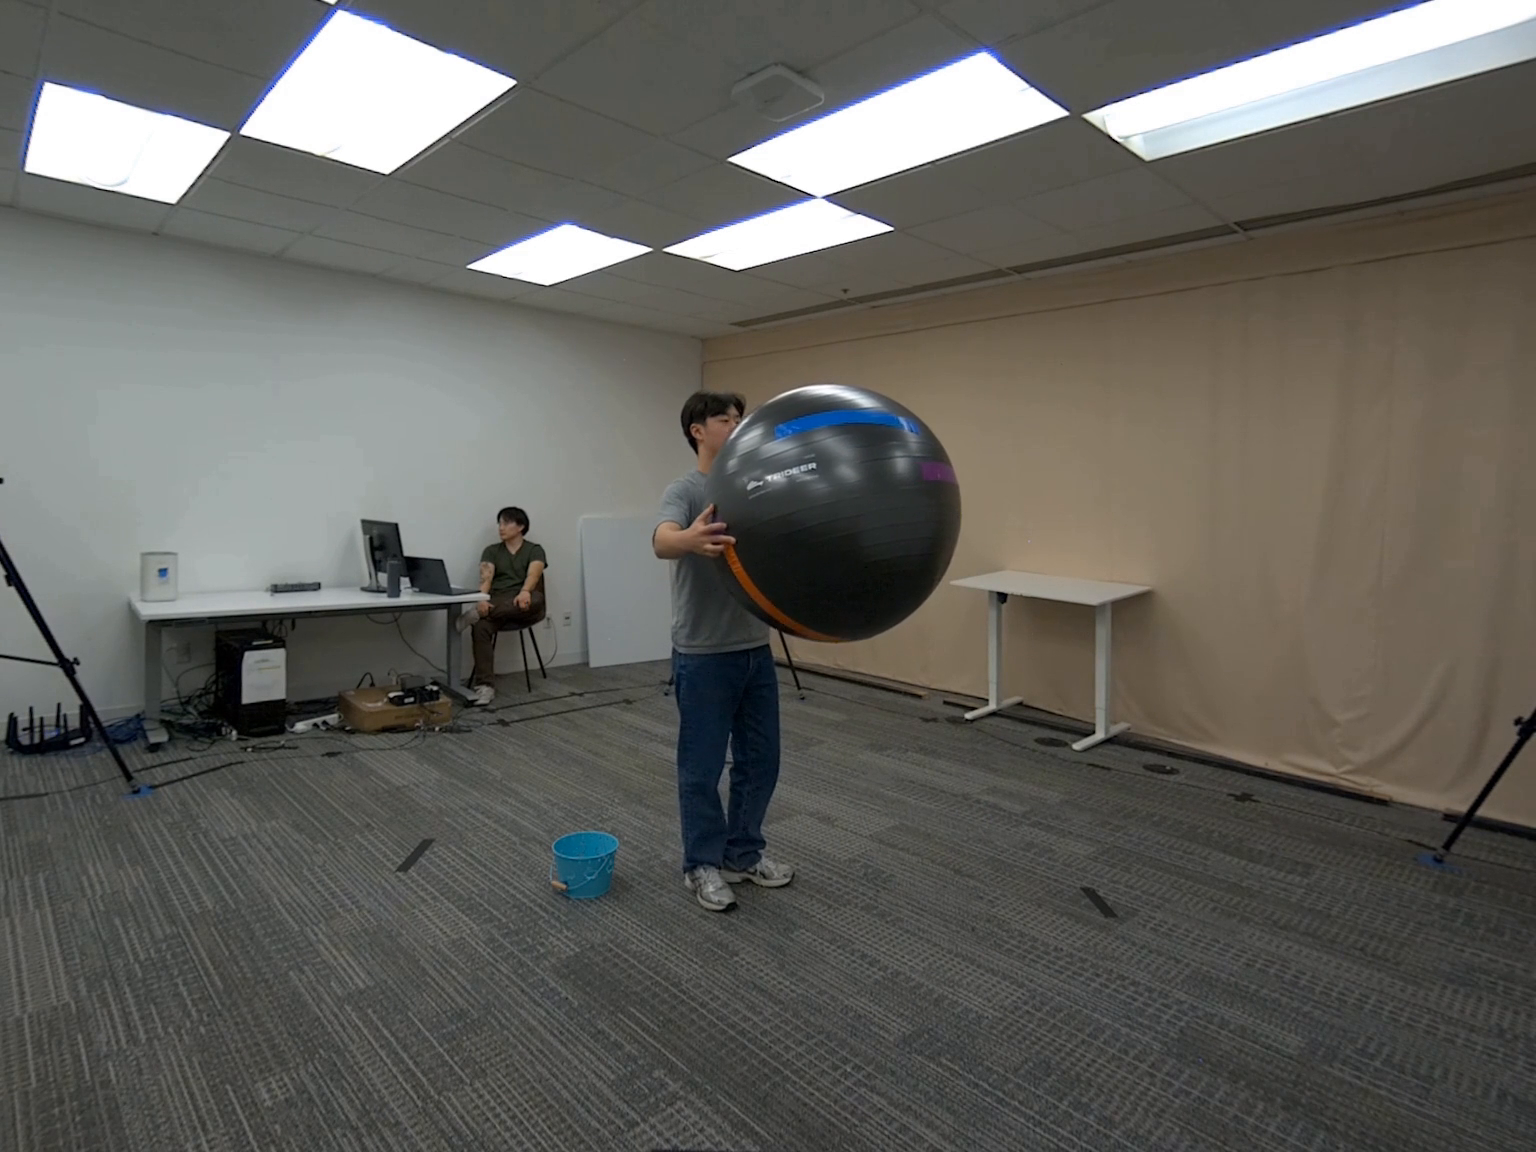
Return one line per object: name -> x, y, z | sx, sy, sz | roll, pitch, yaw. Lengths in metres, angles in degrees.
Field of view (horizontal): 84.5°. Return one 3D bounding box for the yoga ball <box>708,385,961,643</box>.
yoga ball -> 0.194, -0.175, 2.495 | 0.757, 0.756, 0.761 | 1, 4, -1
